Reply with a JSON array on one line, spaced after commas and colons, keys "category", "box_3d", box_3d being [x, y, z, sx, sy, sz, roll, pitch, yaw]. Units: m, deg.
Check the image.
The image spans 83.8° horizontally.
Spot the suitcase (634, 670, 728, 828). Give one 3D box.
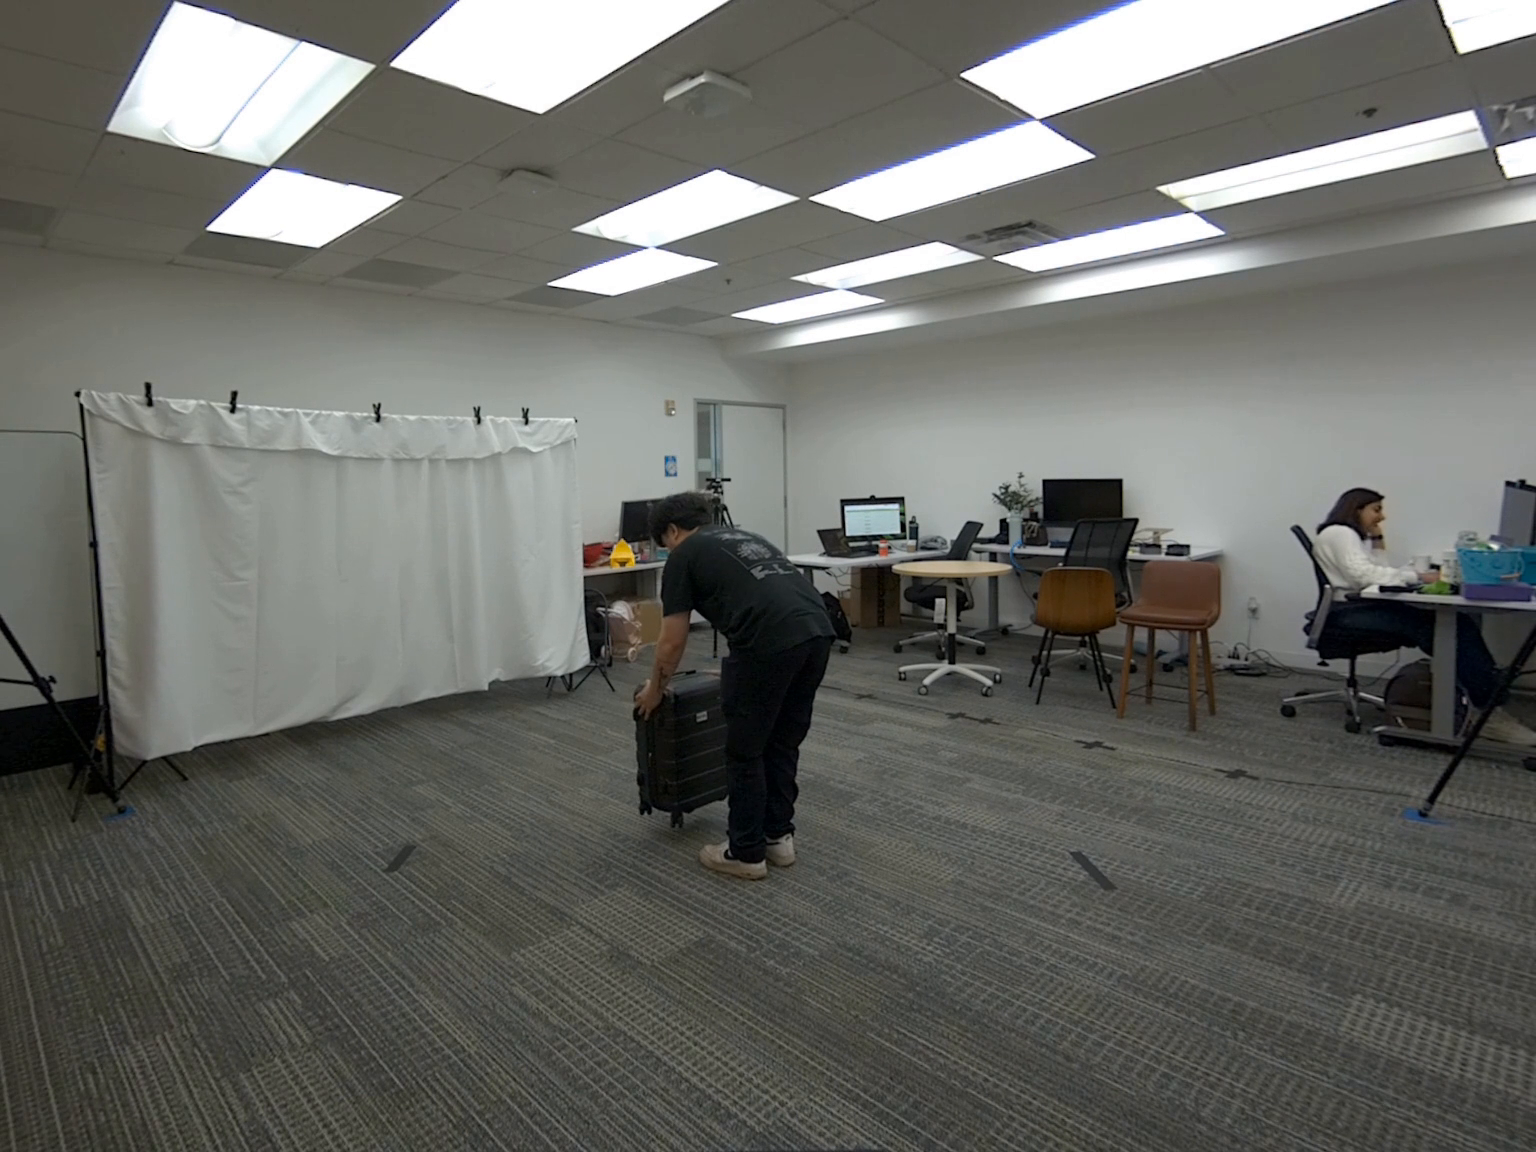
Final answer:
[{"category": "suitcase", "box_3d": [-0.327, 0.663, 3.404, 0.366, 0.547, 0.255, -7, 5, -42]}]
